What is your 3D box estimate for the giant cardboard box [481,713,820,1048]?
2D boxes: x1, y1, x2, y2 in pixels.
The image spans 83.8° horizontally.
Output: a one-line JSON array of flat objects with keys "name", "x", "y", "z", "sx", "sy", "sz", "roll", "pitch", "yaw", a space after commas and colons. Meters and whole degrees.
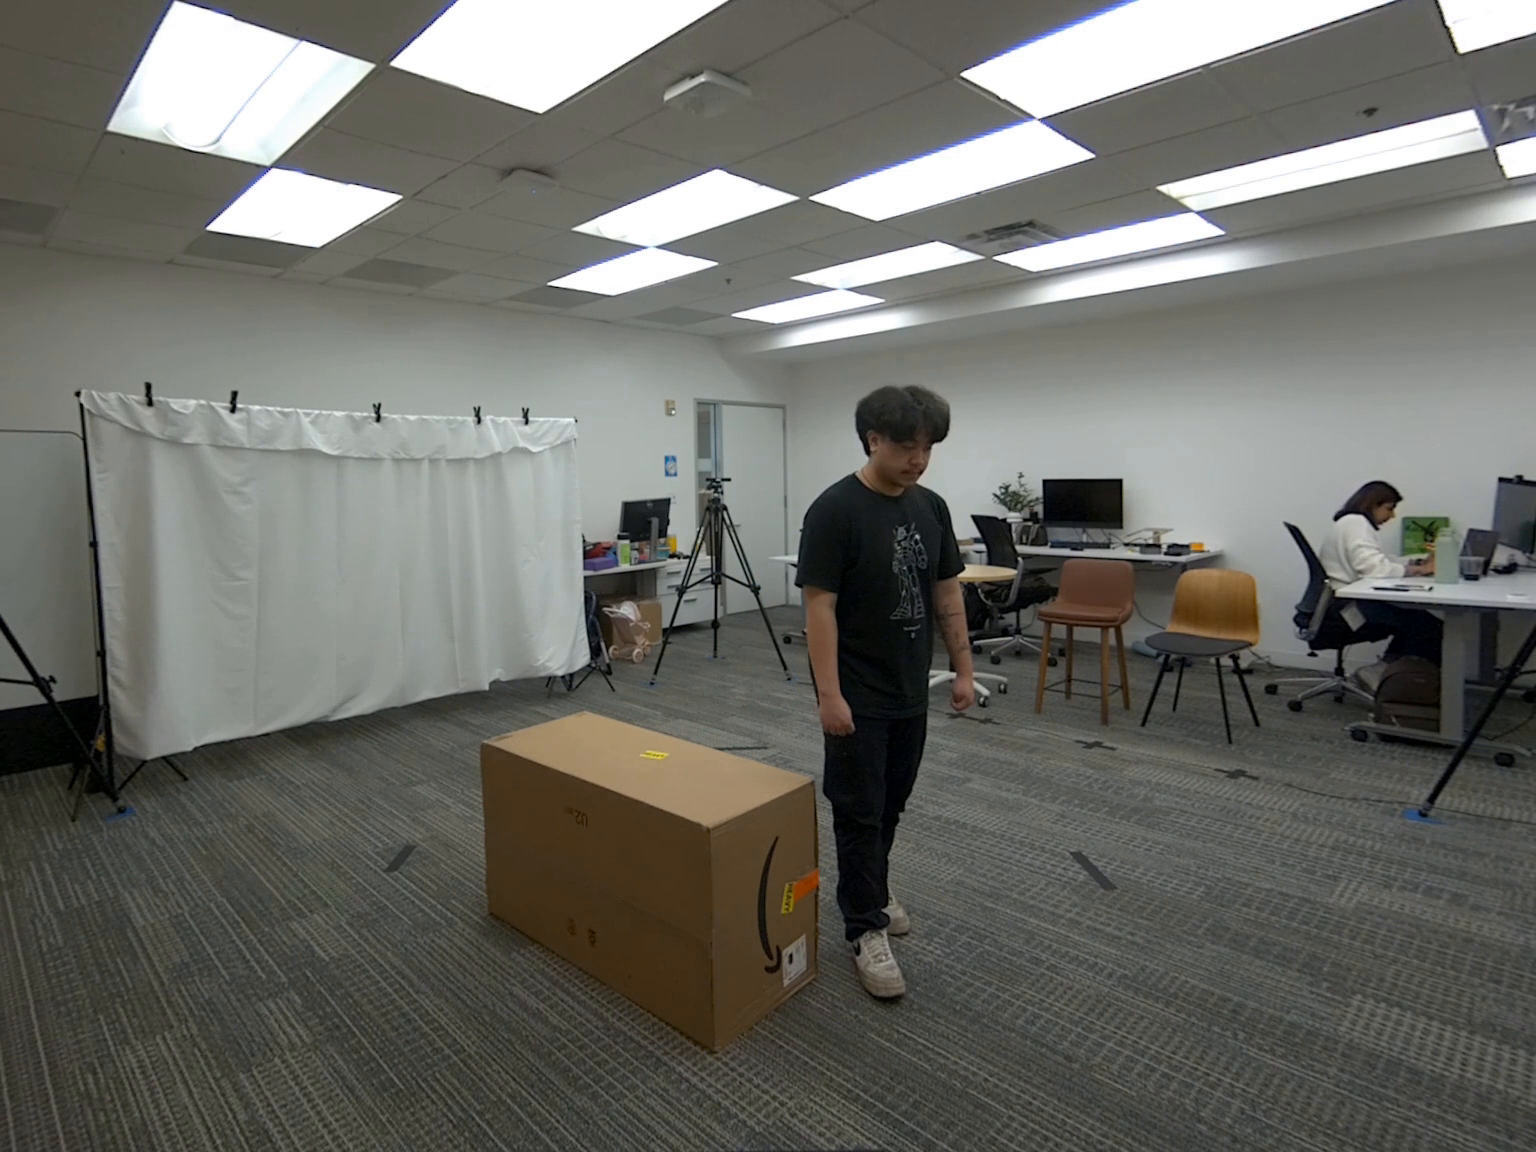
[{"name": "giant cardboard box", "x": -0.387, "y": 0.826, "z": 2.564, "sx": 1.059, "sy": 0.581, "sz": 0.435, "roll": 5, "pitch": 7, "yaw": 41}]
